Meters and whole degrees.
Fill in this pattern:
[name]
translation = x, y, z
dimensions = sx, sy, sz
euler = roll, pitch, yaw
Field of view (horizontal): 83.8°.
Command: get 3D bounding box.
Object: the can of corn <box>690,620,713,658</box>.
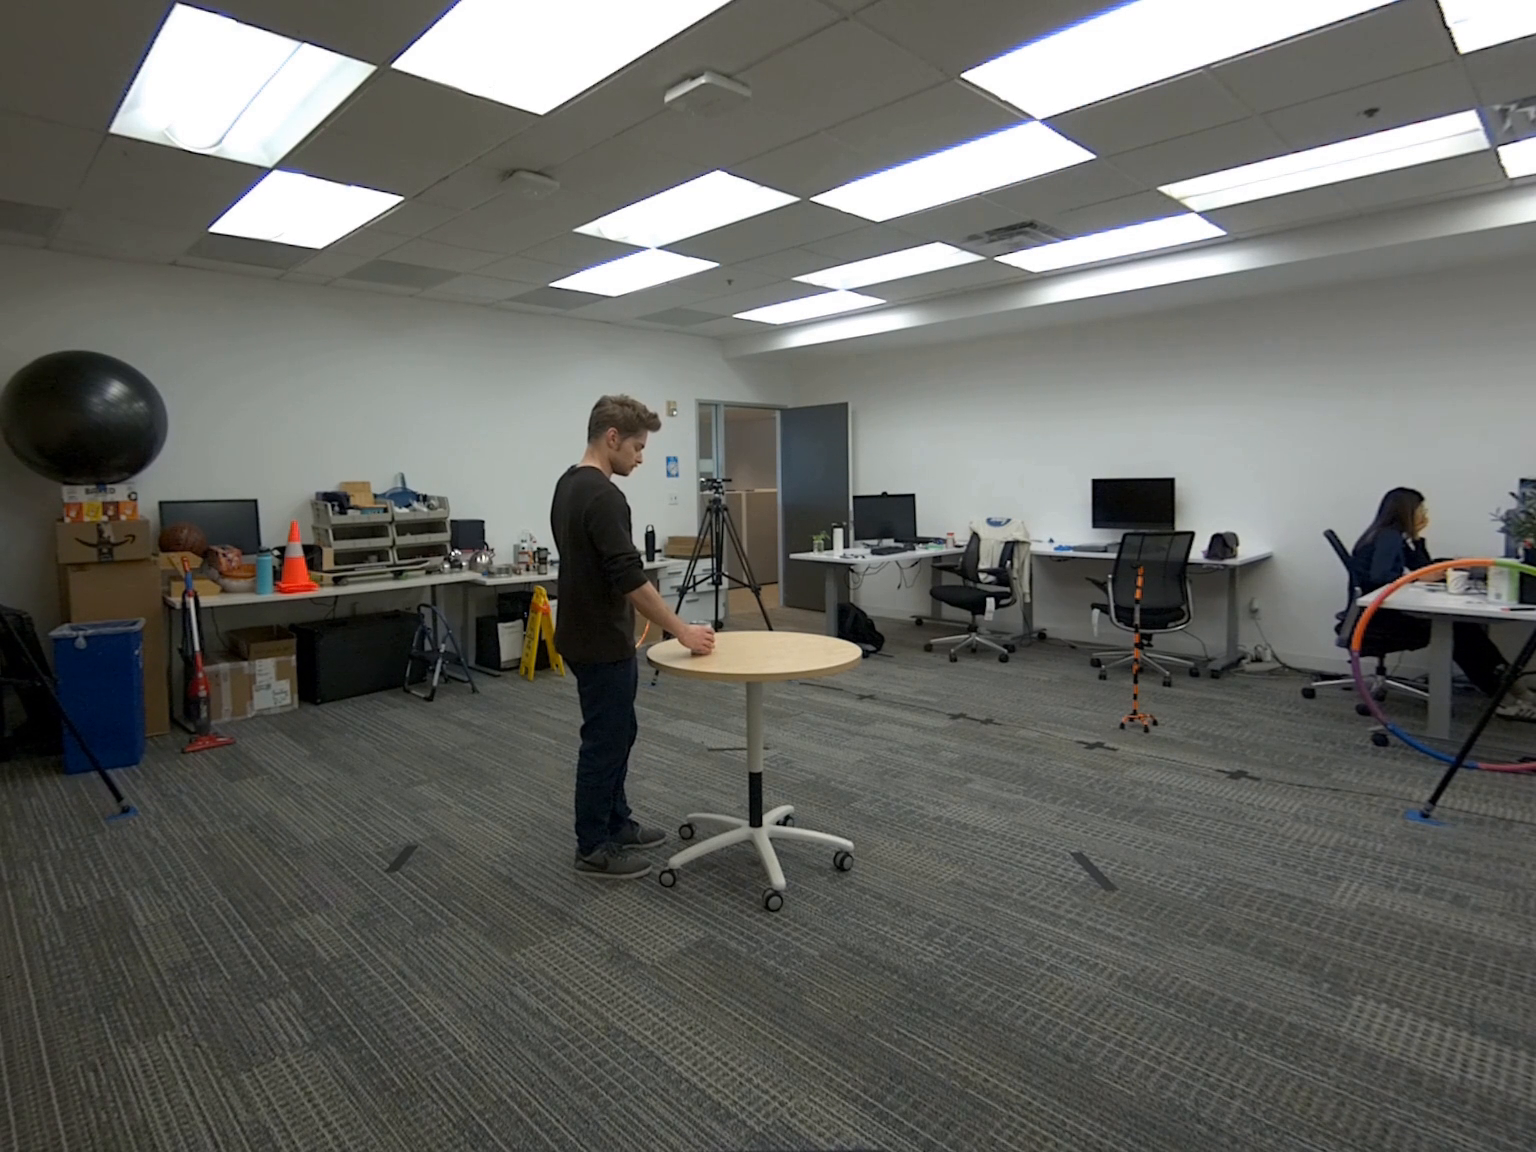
[can of corn]
translation = -0.236, 0.217, 3.000
dimensions = 0.074, 0.110, 0.075
euler = 1, 9, -2
